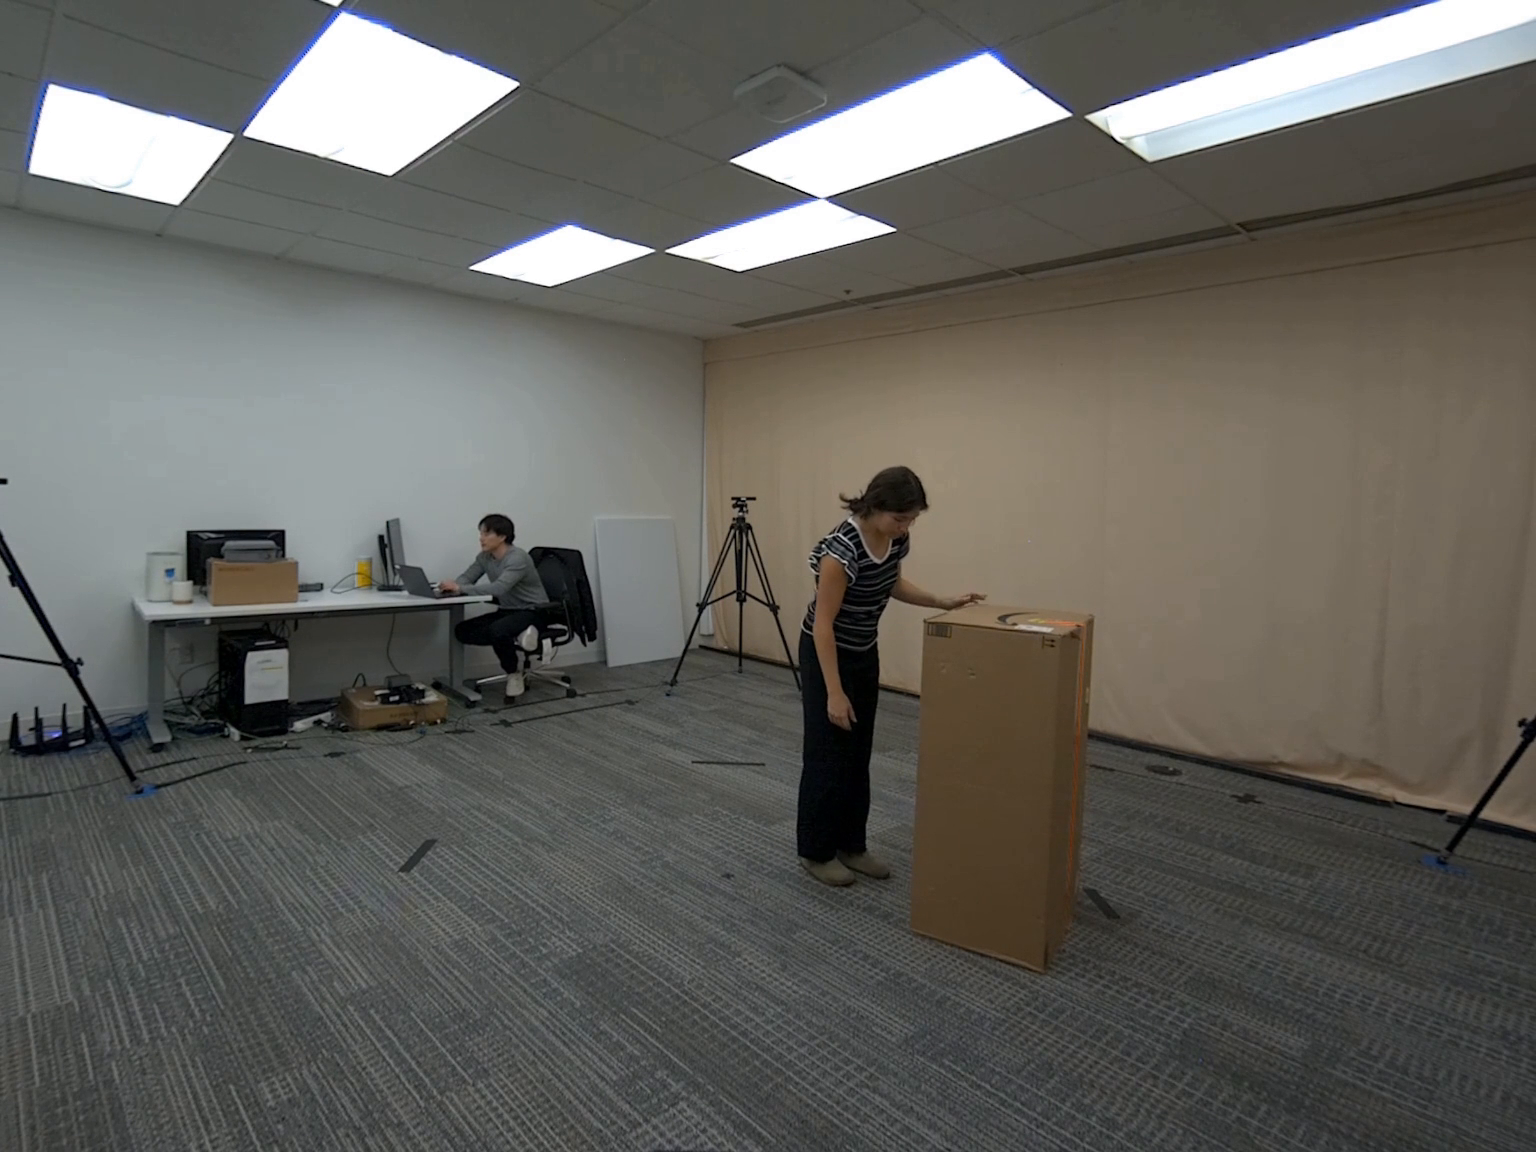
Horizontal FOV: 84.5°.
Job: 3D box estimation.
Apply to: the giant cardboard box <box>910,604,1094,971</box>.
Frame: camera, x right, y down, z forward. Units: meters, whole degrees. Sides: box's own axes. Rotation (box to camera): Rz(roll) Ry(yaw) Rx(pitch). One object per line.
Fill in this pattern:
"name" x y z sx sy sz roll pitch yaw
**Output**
"giant cardboard box" 0.795 0.645 2.824 0.436 1.023 0.566 4 4 30
